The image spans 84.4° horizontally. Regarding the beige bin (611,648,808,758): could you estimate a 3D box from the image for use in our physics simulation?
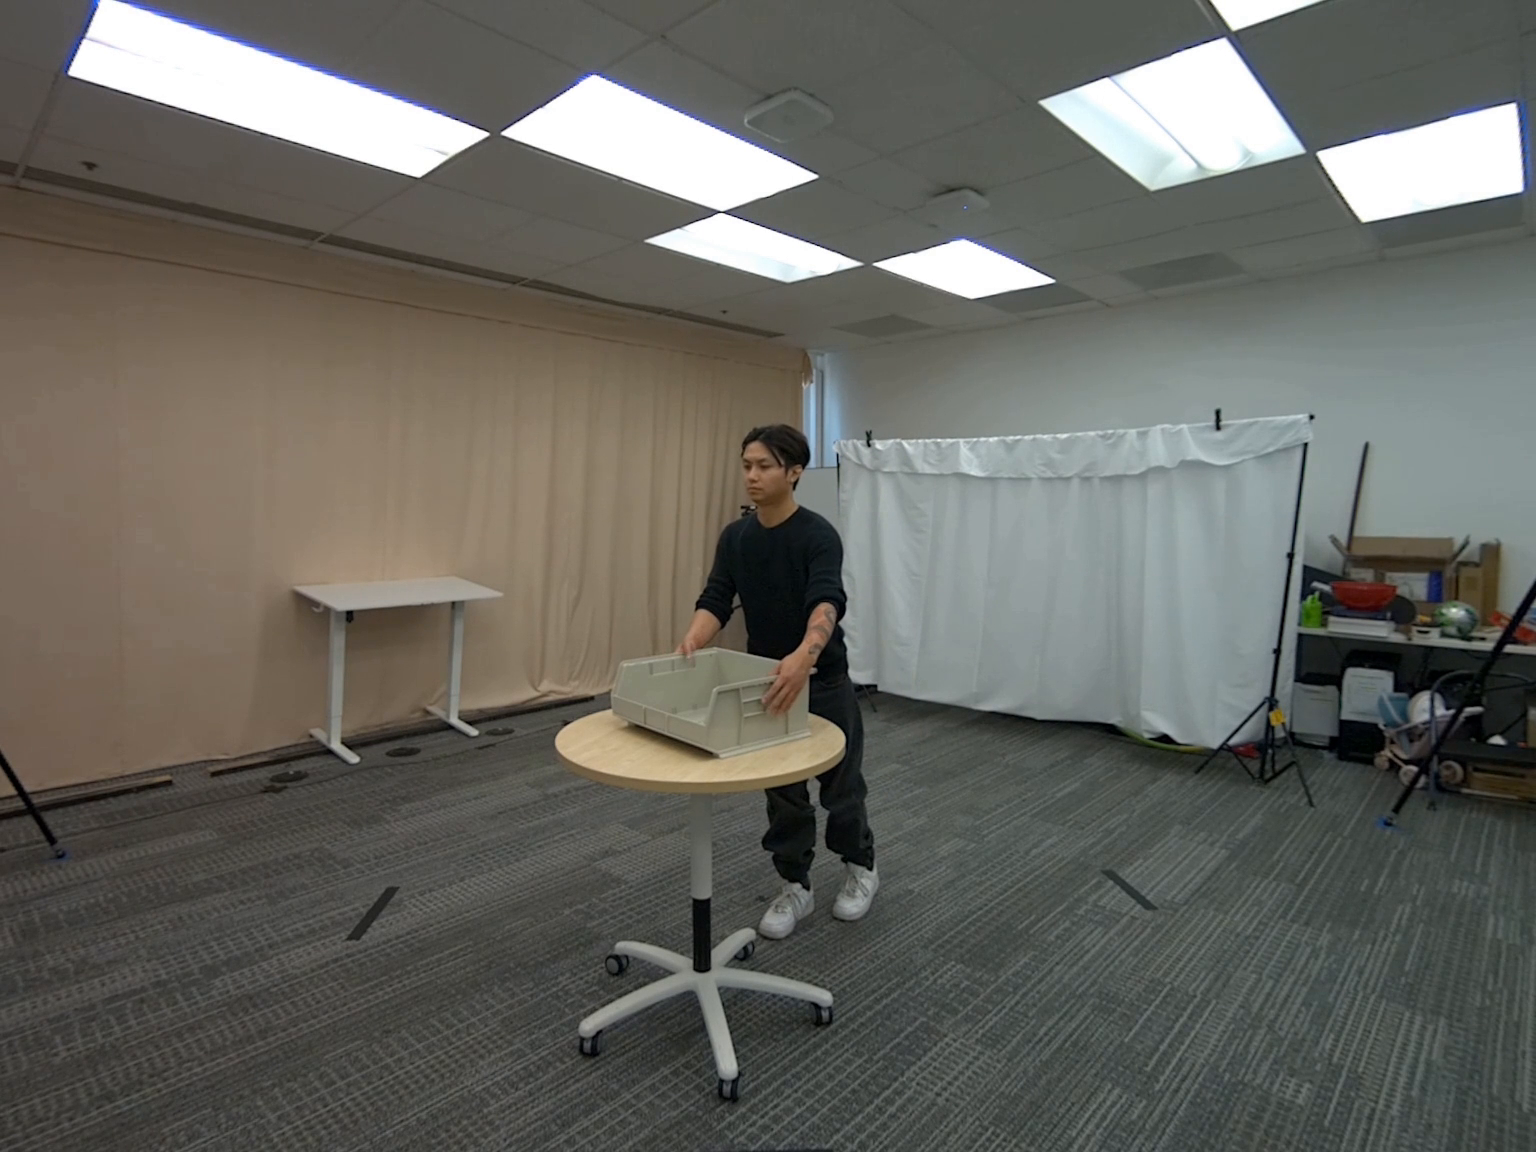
[{"bbox_3d":[-0.150,0.332,2.266,0.365,0.189,0.436,-2,4,-41],"label":"beige bin"}]
